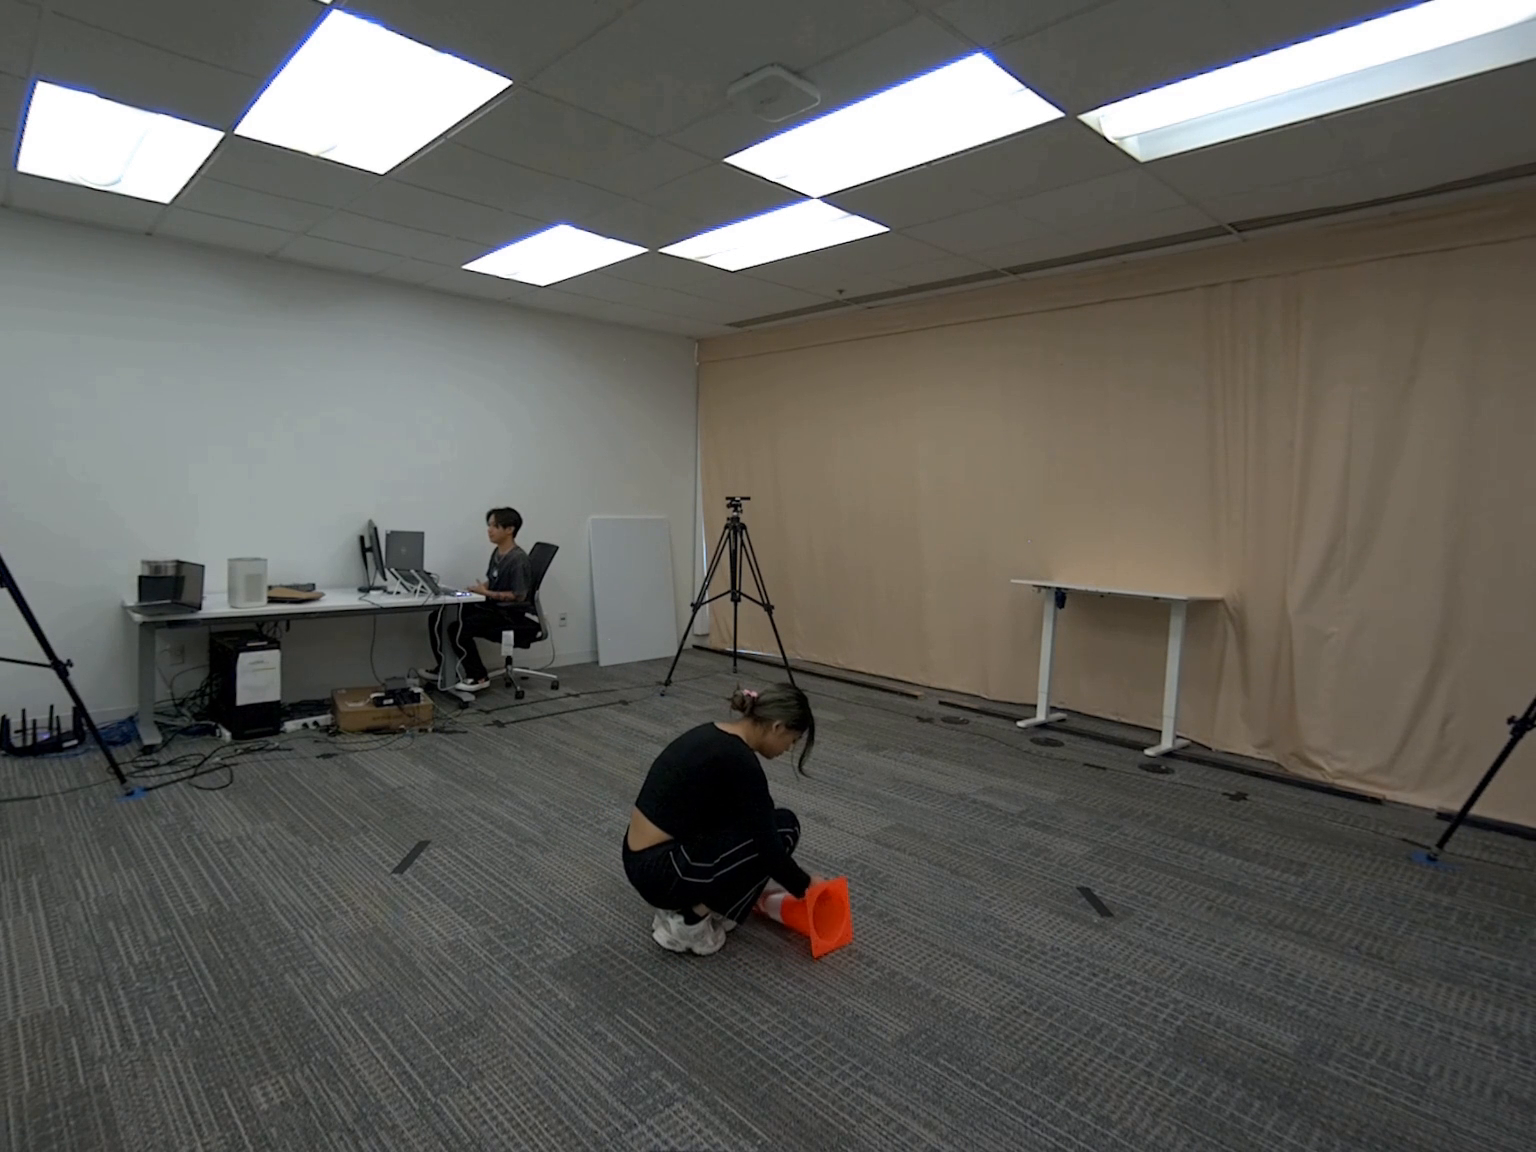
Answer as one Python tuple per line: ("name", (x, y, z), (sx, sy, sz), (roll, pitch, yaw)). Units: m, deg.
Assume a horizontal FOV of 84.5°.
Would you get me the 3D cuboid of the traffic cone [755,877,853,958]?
("traffic cone", (0.051, 1.087, 2.747), (0.390, 0.205, 0.200), (-14, -13, 42))
